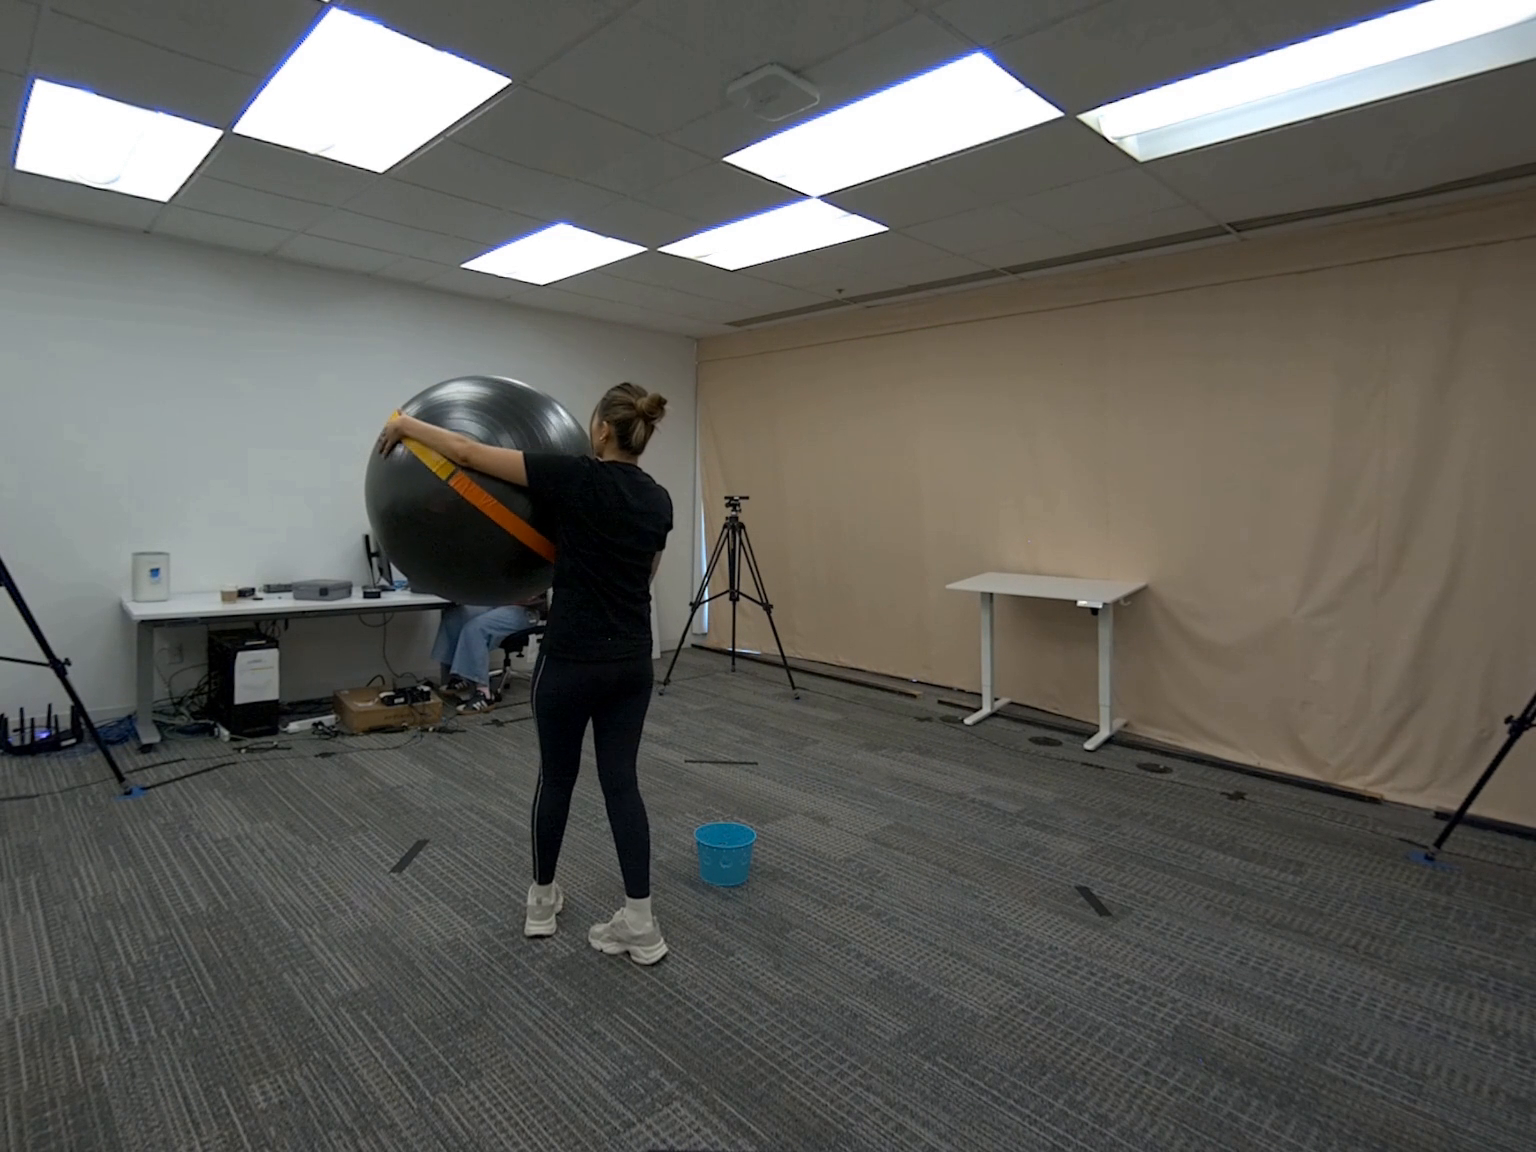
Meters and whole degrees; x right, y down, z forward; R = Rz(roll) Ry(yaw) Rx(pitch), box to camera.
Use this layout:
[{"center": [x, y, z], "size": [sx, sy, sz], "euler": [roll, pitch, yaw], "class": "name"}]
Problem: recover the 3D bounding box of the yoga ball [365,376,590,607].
[{"center": [-0.942, -0.274, 2.792], "size": [0.757, 0.756, 0.761], "euler": [1, 4, -1], "class": "yoga ball"}]
